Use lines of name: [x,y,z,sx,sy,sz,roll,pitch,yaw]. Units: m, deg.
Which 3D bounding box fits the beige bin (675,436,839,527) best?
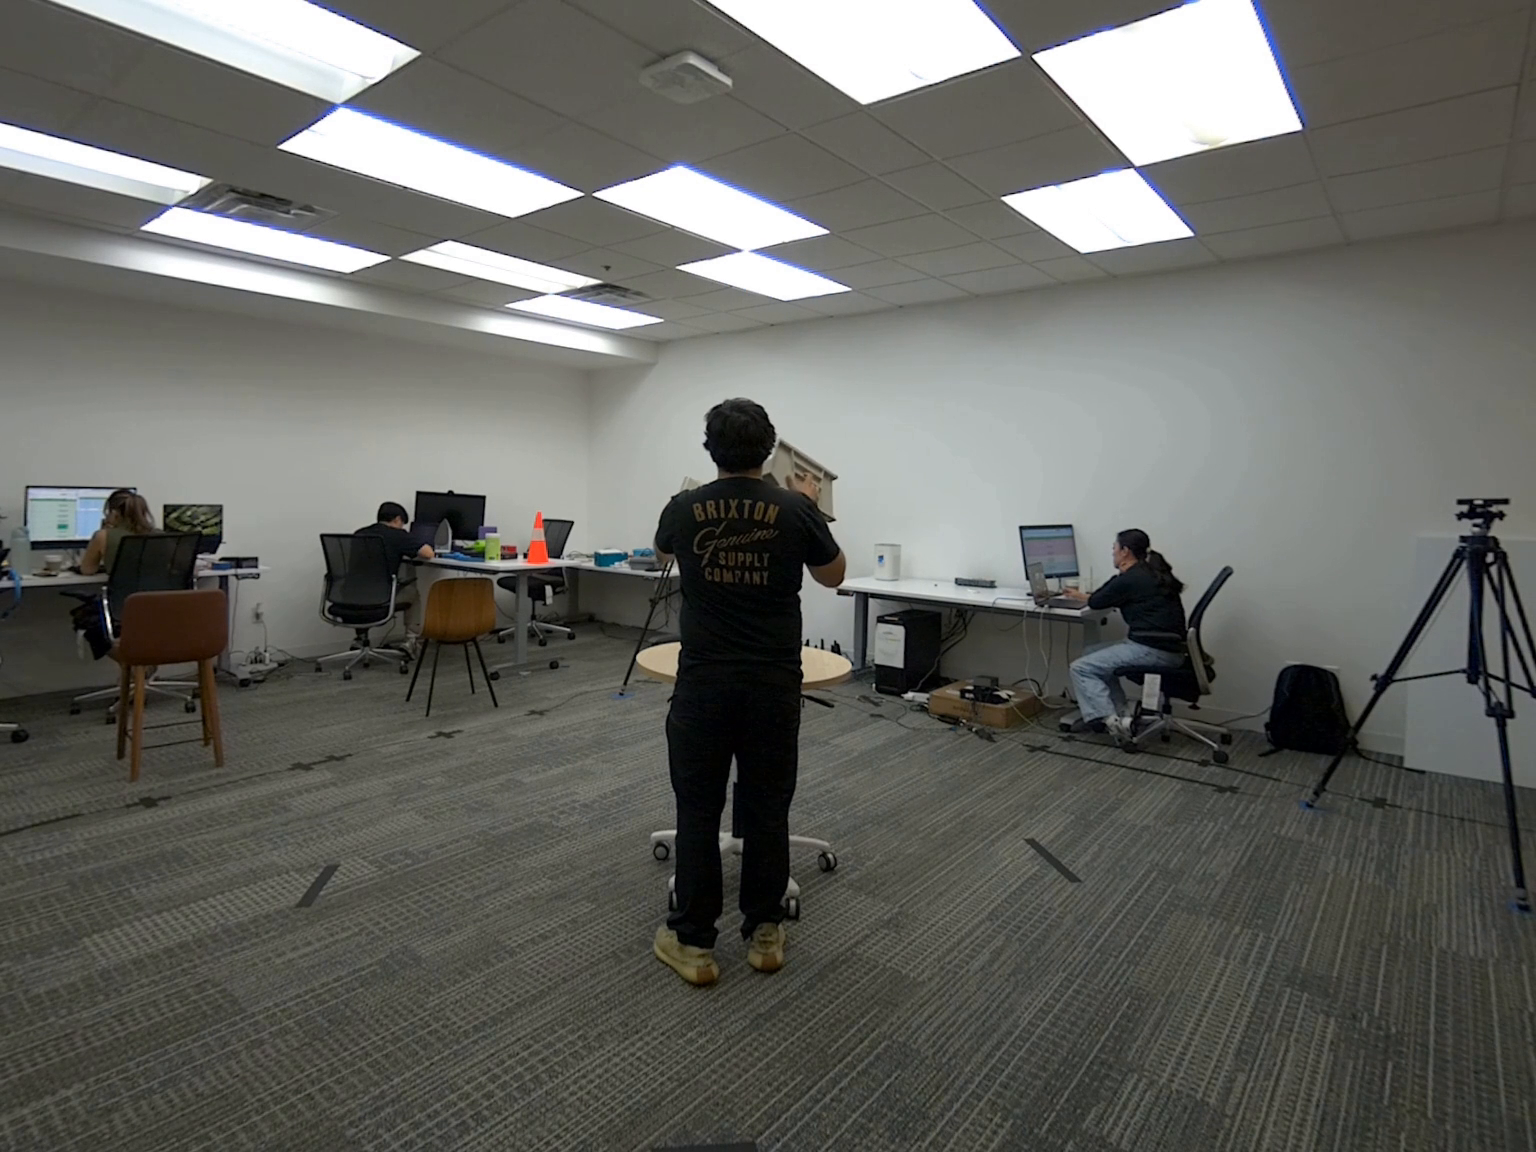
beige bin: [-0.043,-0.275,2.946,0.430,0.193,0.362,-18,-30,36]
